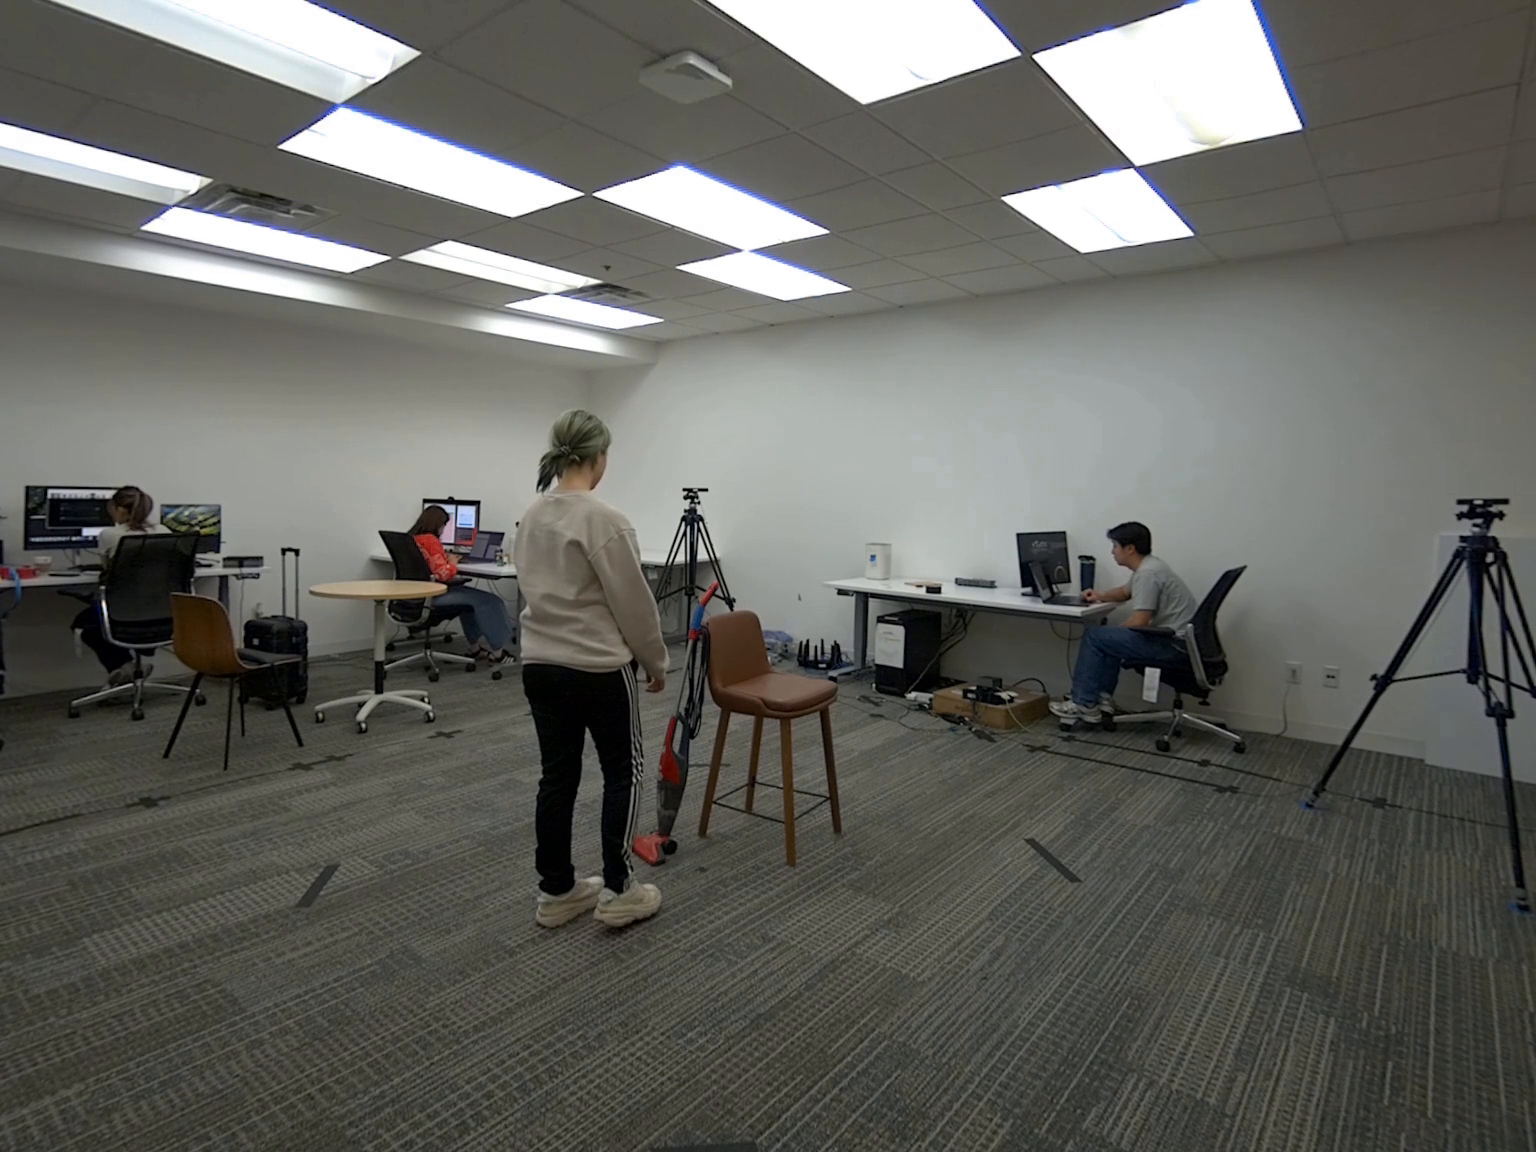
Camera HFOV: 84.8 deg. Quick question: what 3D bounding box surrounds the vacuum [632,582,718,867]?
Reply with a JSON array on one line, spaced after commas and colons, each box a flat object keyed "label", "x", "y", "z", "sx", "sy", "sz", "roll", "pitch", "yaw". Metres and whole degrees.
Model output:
[{"label": "vacuum", "x": -0.342, "y": 0.540, "z": 3.310, "sx": 0.139, "sy": 1.053, "sz": 0.261, "roll": 15, "pitch": -6, "yaw": -36}]
